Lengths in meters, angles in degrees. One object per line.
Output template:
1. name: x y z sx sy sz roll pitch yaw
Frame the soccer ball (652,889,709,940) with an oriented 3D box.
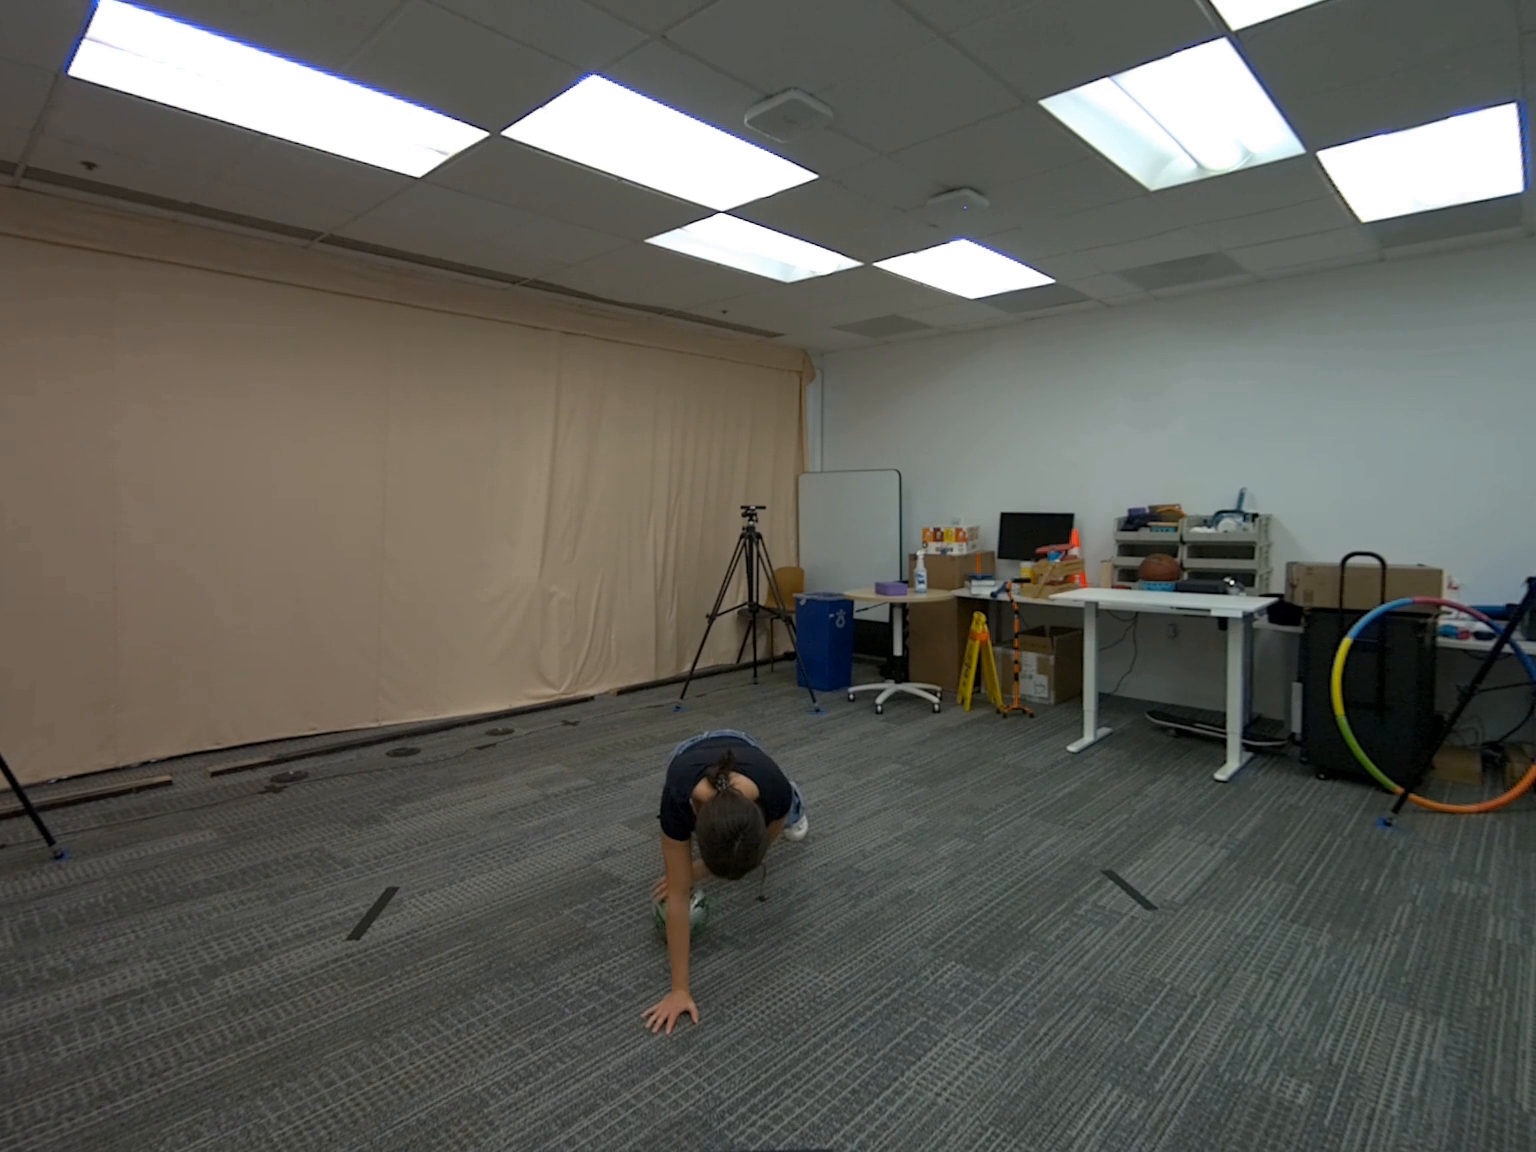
1. soccer ball: -0.274 1.064 2.708 0.187 0.187 0.188 0 4 -2
